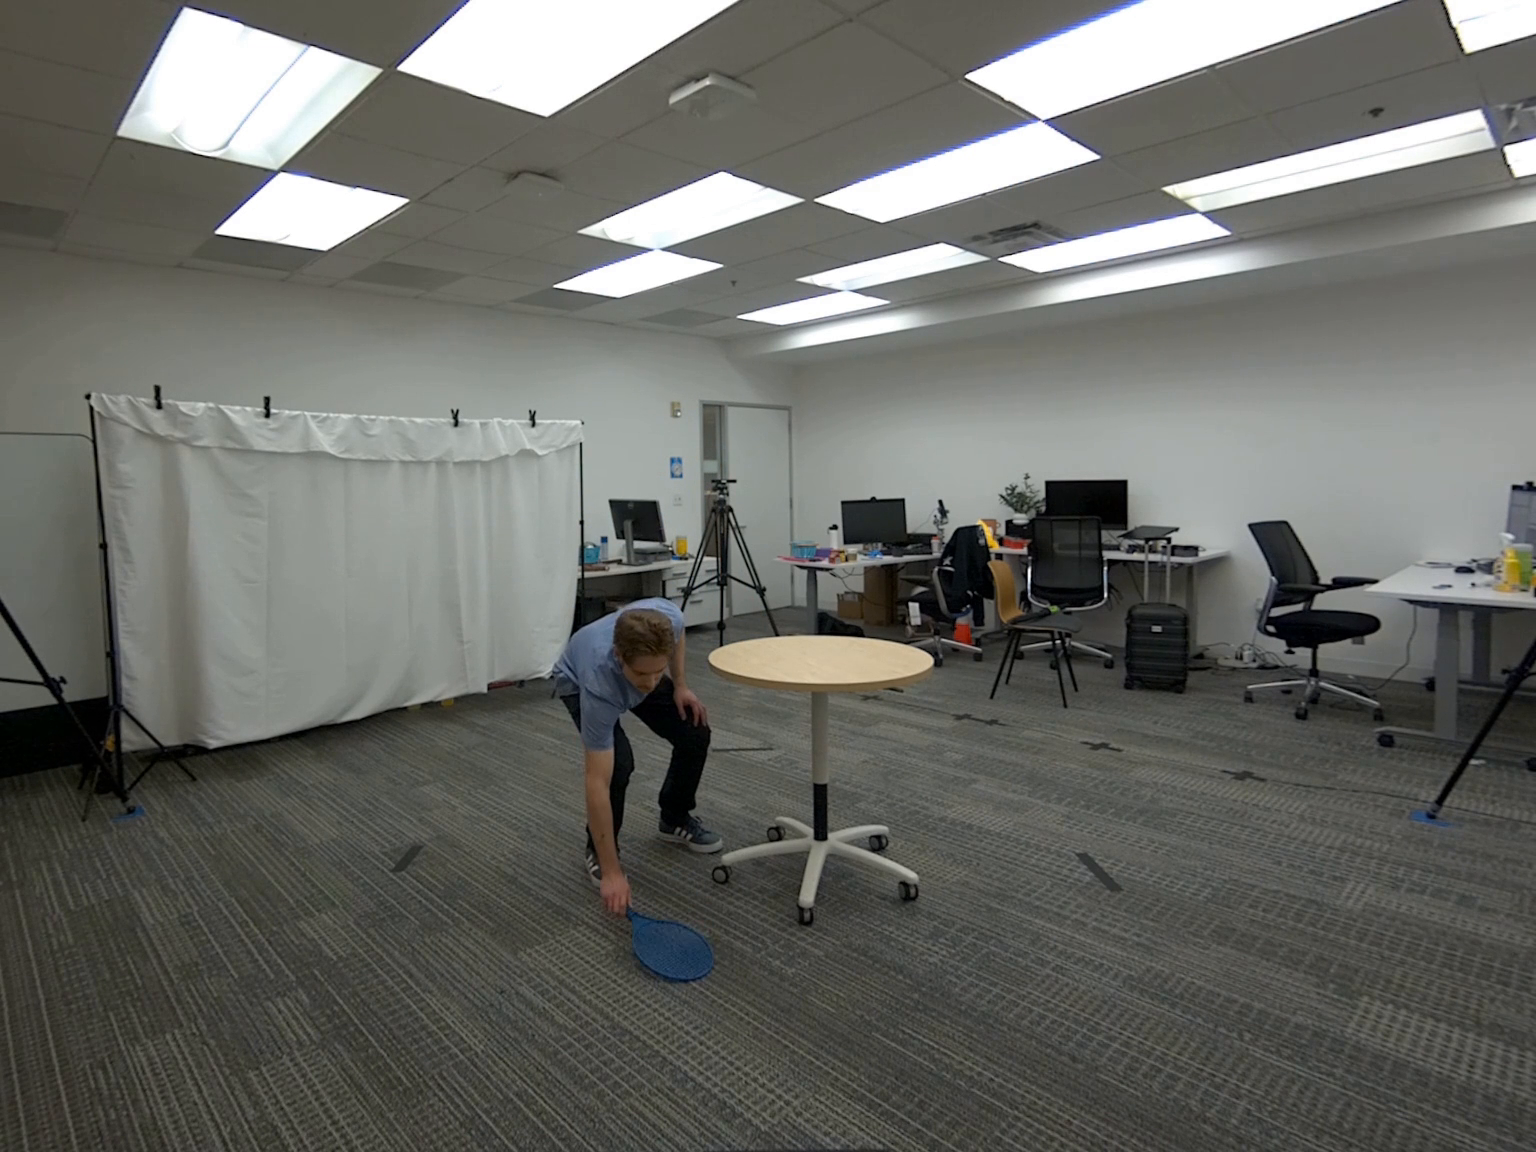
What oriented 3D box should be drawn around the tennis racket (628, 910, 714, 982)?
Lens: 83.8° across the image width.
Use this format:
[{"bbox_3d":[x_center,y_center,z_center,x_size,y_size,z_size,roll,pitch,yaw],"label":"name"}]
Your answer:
[{"bbox_3d":[-0.331,1.075,2.552,0.449,0.031,0.208,19,20,41],"label":"tennis racket"}]
